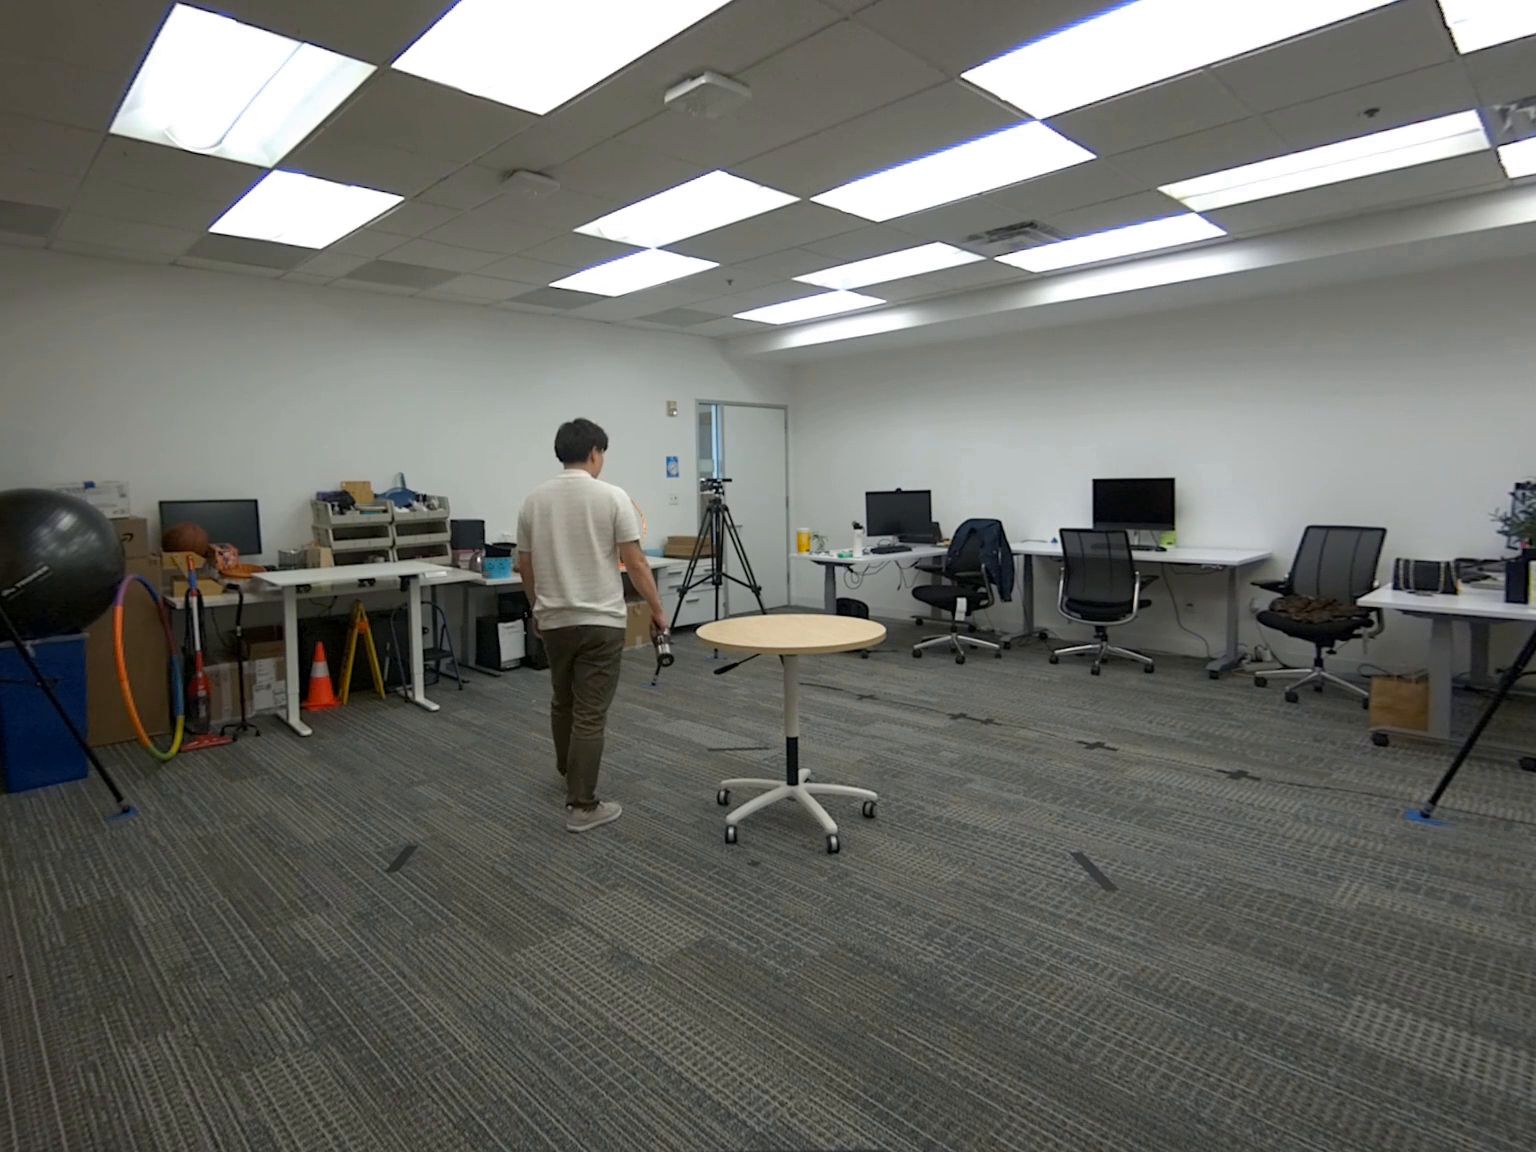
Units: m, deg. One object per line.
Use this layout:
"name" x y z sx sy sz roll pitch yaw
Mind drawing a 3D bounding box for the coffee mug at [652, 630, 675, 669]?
"coffee mug" -0.469 0.271 3.656 0.088 0.119 0.208 -6 32 -2
